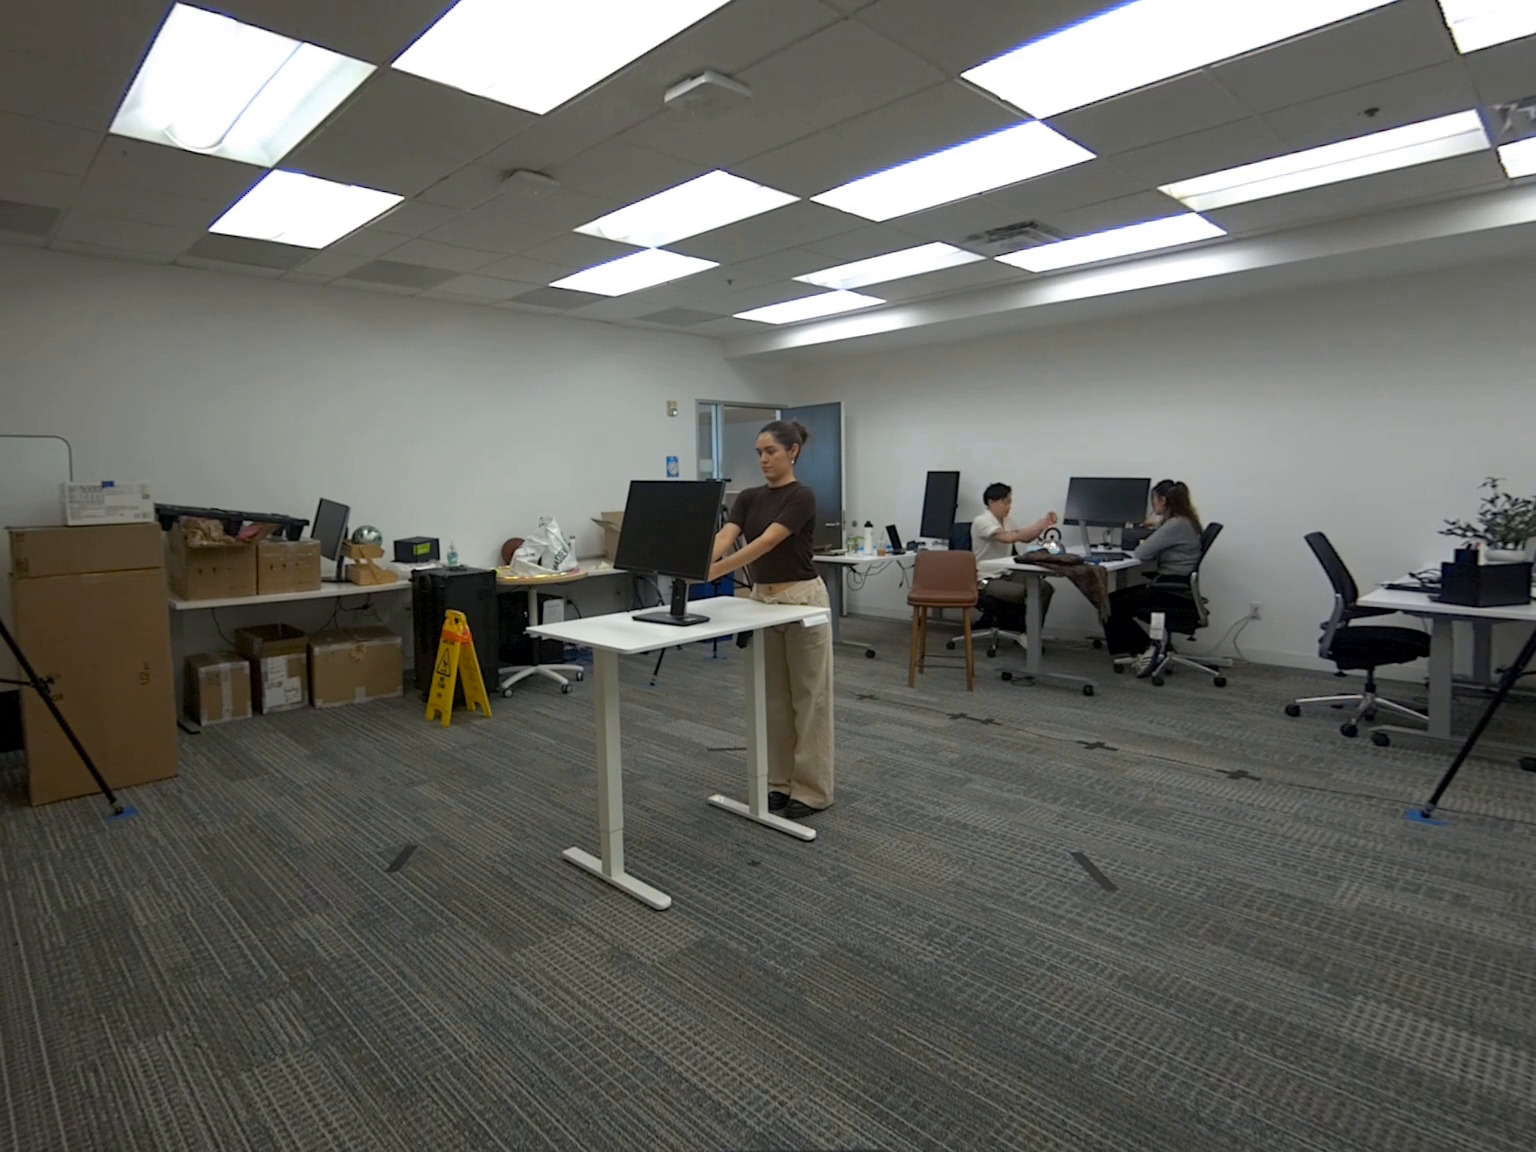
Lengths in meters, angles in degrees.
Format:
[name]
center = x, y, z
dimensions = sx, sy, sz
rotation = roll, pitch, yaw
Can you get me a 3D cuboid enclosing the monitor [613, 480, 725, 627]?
[monitor]
center = -0.350, -0.088, 3.143
dimensions = 0.556, 0.521, 0.182
rotation = 5, 5, 43
